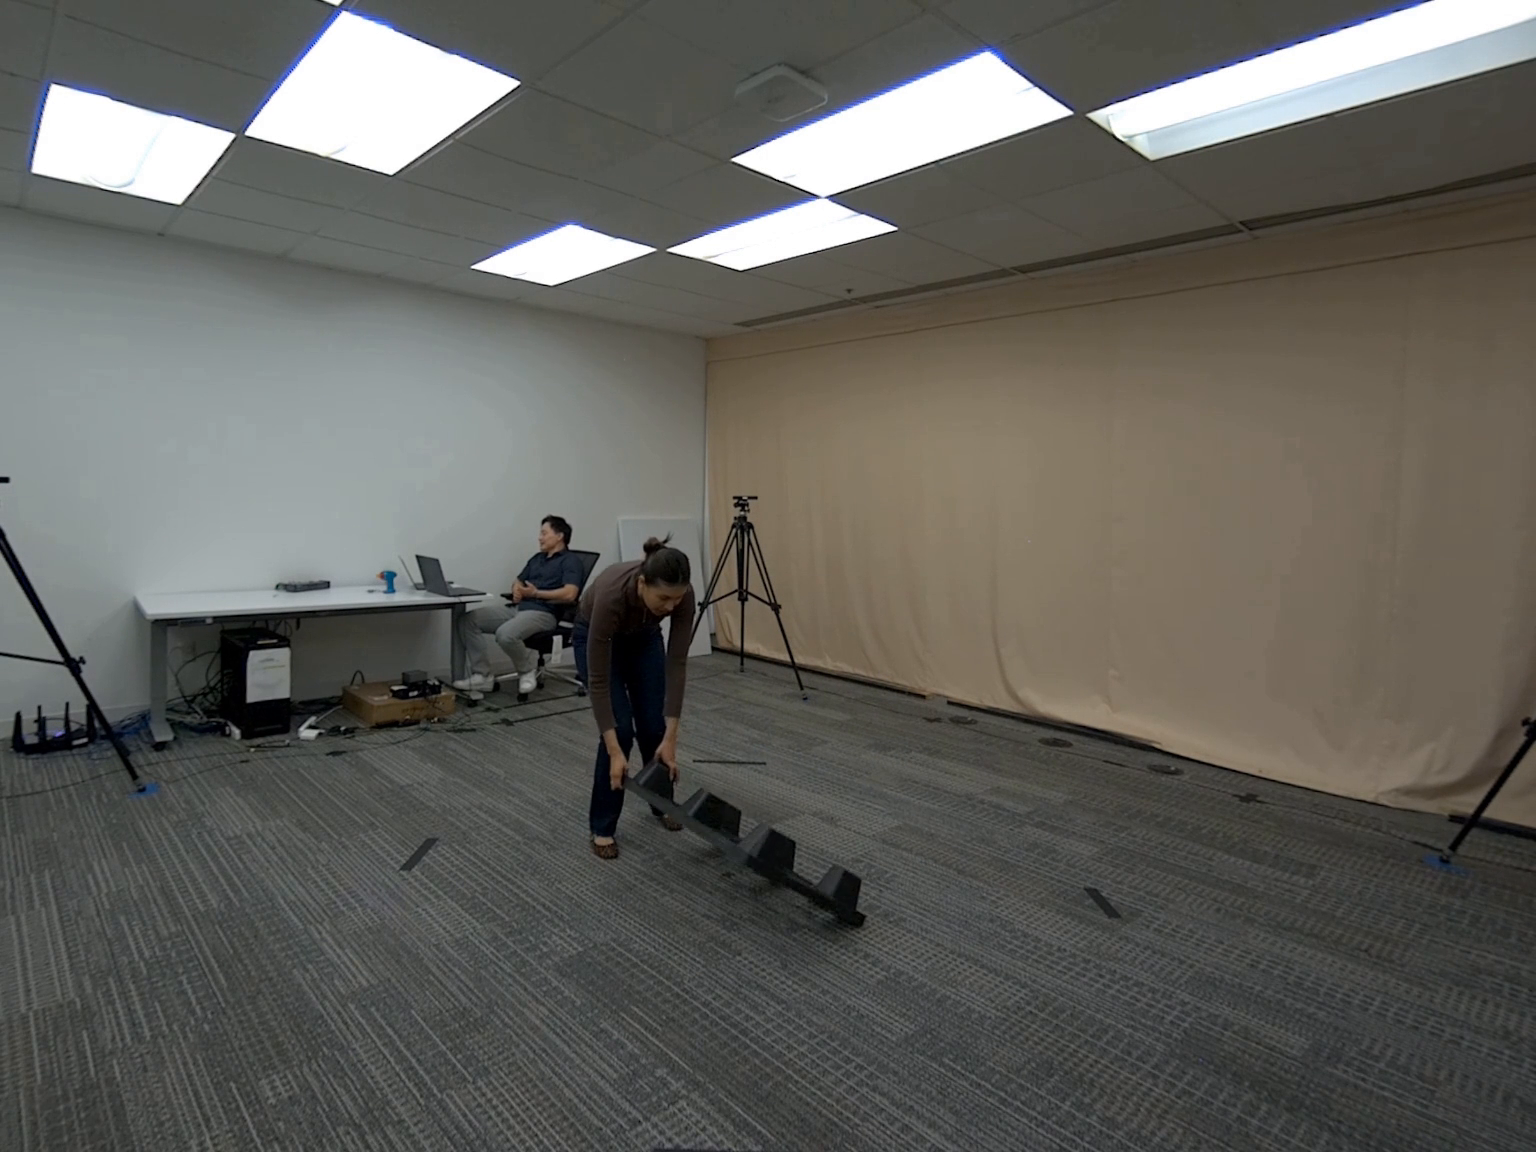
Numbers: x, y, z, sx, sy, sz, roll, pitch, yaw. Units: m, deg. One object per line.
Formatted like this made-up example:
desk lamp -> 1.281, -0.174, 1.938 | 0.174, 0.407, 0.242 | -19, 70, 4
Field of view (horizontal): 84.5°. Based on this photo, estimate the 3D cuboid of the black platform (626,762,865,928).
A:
black platform -> -0.095, 0.906, 2.924 | 0.588, 0.144, 0.826 | 39, -17, -33
